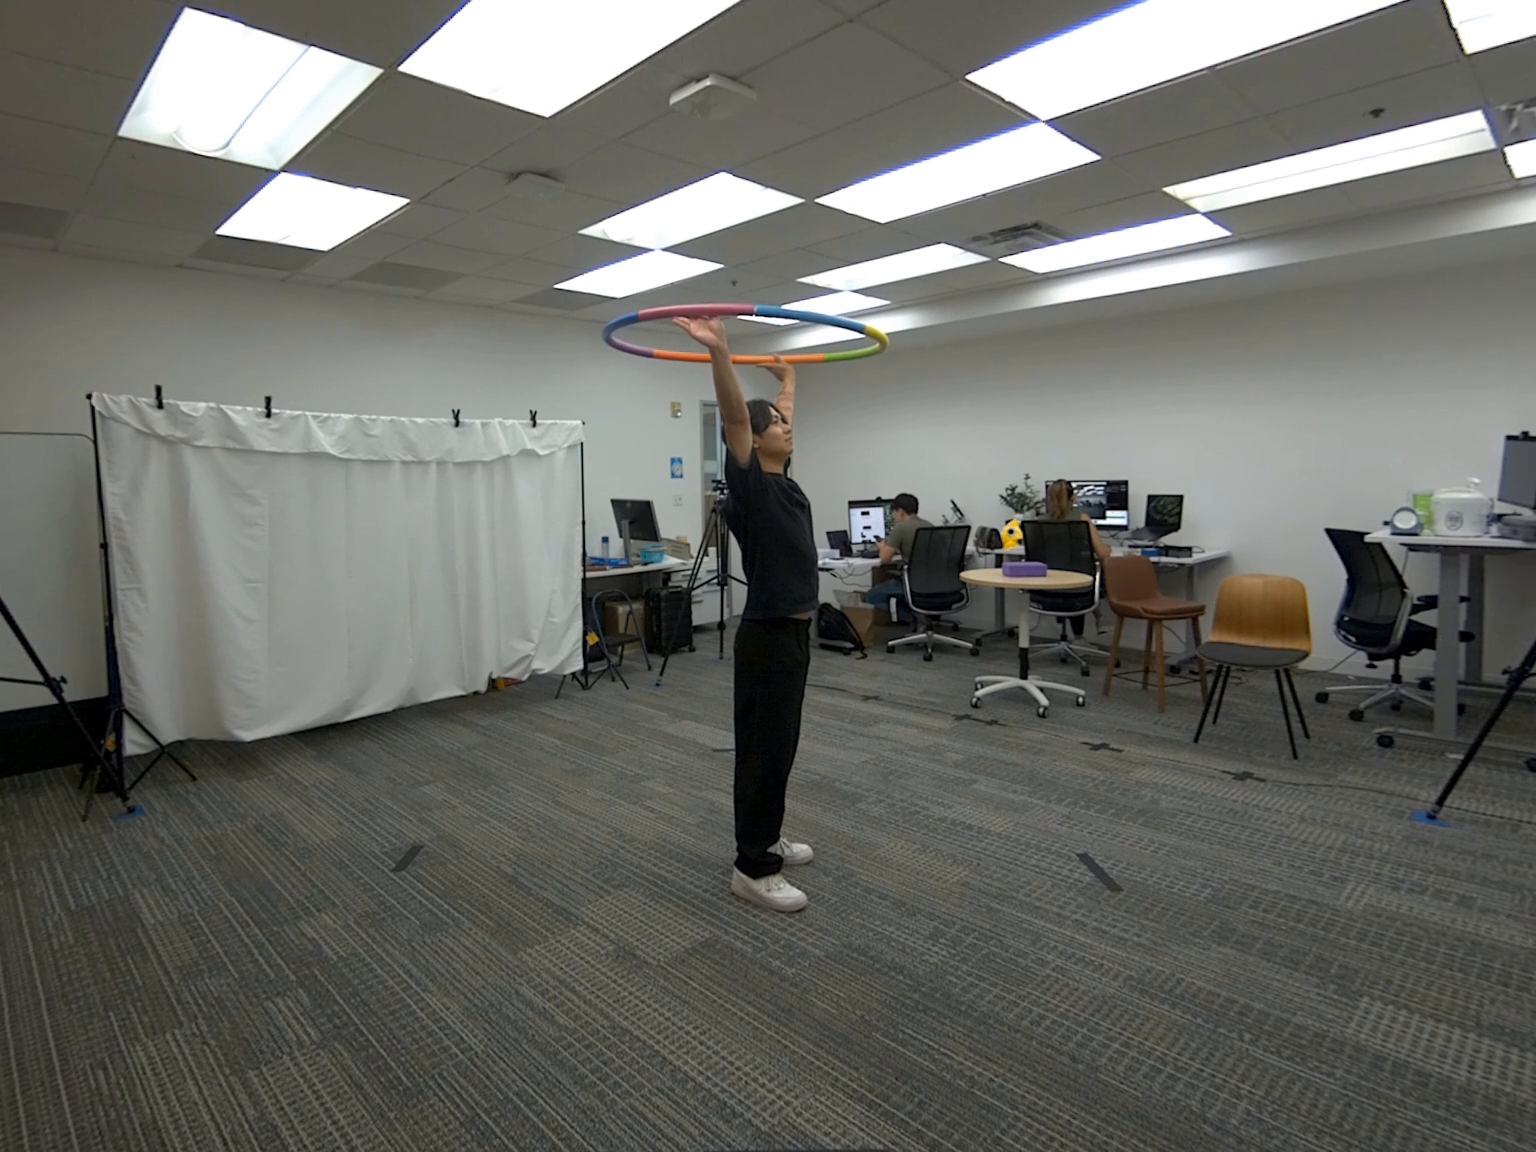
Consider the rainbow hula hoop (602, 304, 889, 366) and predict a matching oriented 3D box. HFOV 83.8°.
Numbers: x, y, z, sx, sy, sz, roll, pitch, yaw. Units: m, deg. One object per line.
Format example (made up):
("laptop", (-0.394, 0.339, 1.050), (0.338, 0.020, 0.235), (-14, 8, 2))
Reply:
("rainbow hula hoop", (-0.074, -0.798, 2.911), (0.978, 0.035, 0.984), (2, 6, -2))
